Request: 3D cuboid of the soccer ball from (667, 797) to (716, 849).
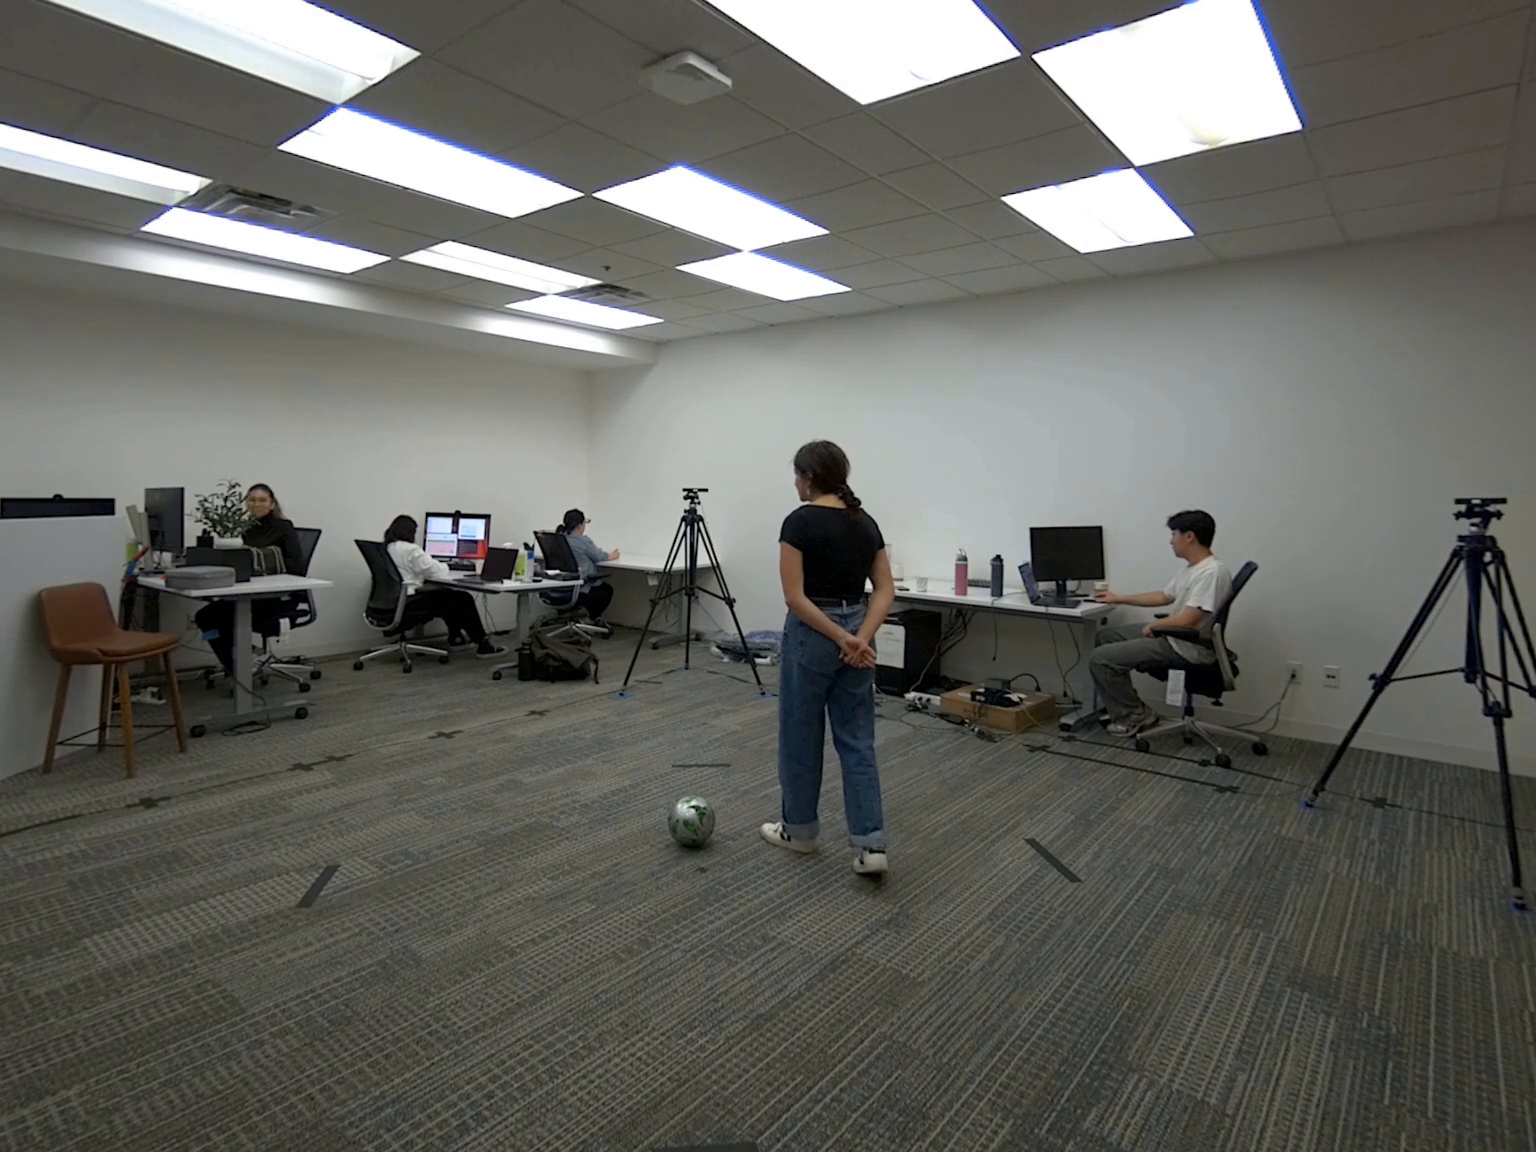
[{"bbox_3d":[-0.300,0.947,3.330,0.187,0.187,0.188,1,4,-2],"label":"soccer ball"}]
